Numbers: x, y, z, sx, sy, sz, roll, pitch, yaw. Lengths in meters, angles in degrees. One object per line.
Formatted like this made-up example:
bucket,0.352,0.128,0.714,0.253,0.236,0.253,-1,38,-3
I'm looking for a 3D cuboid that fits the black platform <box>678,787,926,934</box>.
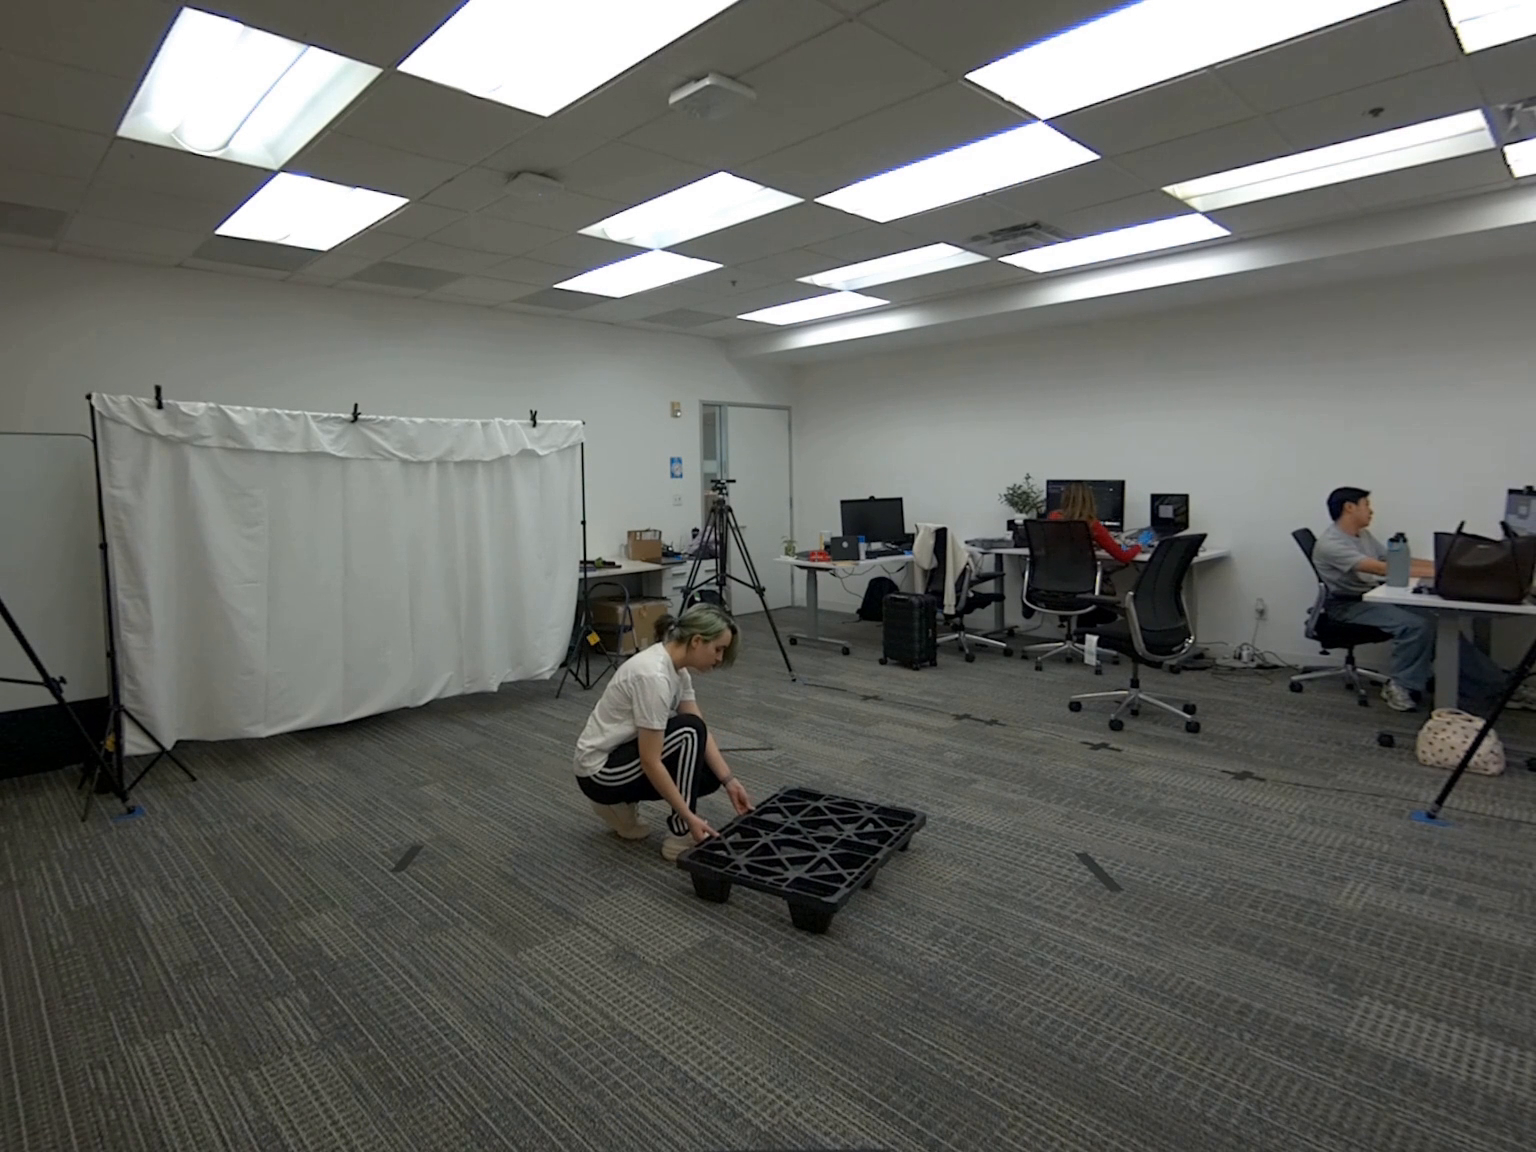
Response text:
black platform,0.143,0.985,3.033,0.621,0.143,0.787,2,7,31
